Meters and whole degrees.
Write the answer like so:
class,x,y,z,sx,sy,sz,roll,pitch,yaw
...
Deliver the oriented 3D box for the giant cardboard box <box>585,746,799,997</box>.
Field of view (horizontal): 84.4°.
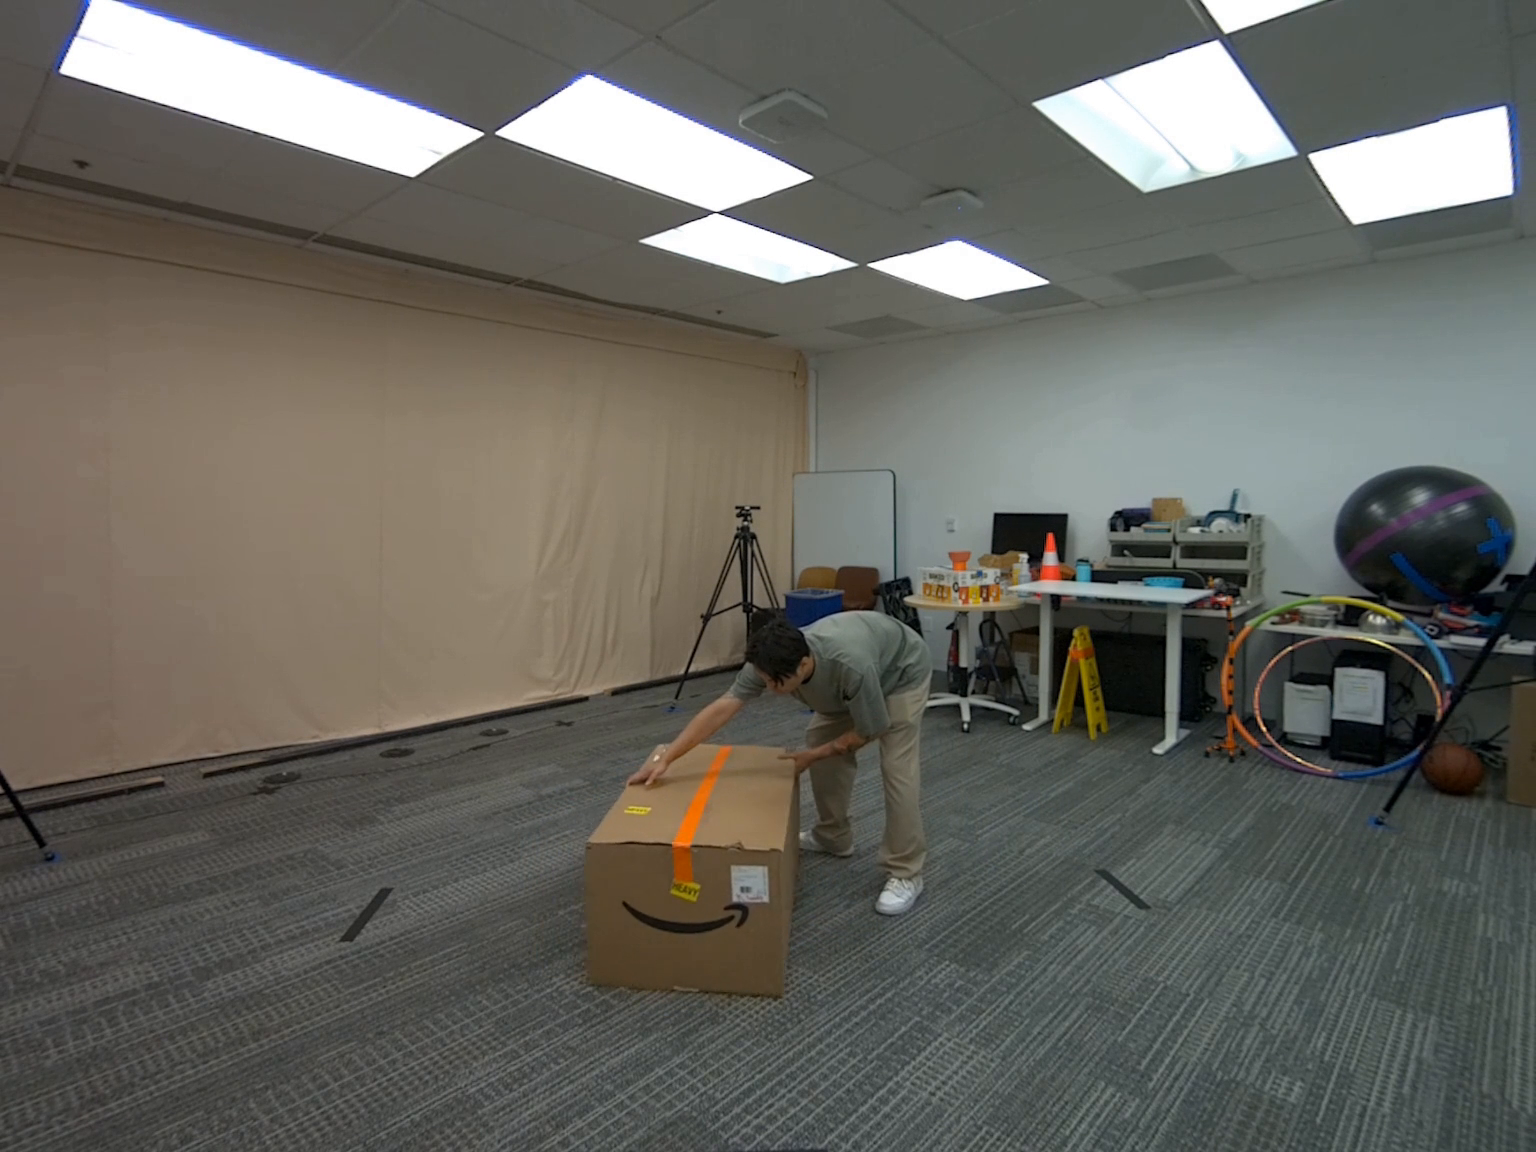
class,x,y,z,sx,sy,sz,roll,pitch,yaw
giant cardboard box,-0.204,0.932,2.900,0.582,0.425,1.021,1,4,5
